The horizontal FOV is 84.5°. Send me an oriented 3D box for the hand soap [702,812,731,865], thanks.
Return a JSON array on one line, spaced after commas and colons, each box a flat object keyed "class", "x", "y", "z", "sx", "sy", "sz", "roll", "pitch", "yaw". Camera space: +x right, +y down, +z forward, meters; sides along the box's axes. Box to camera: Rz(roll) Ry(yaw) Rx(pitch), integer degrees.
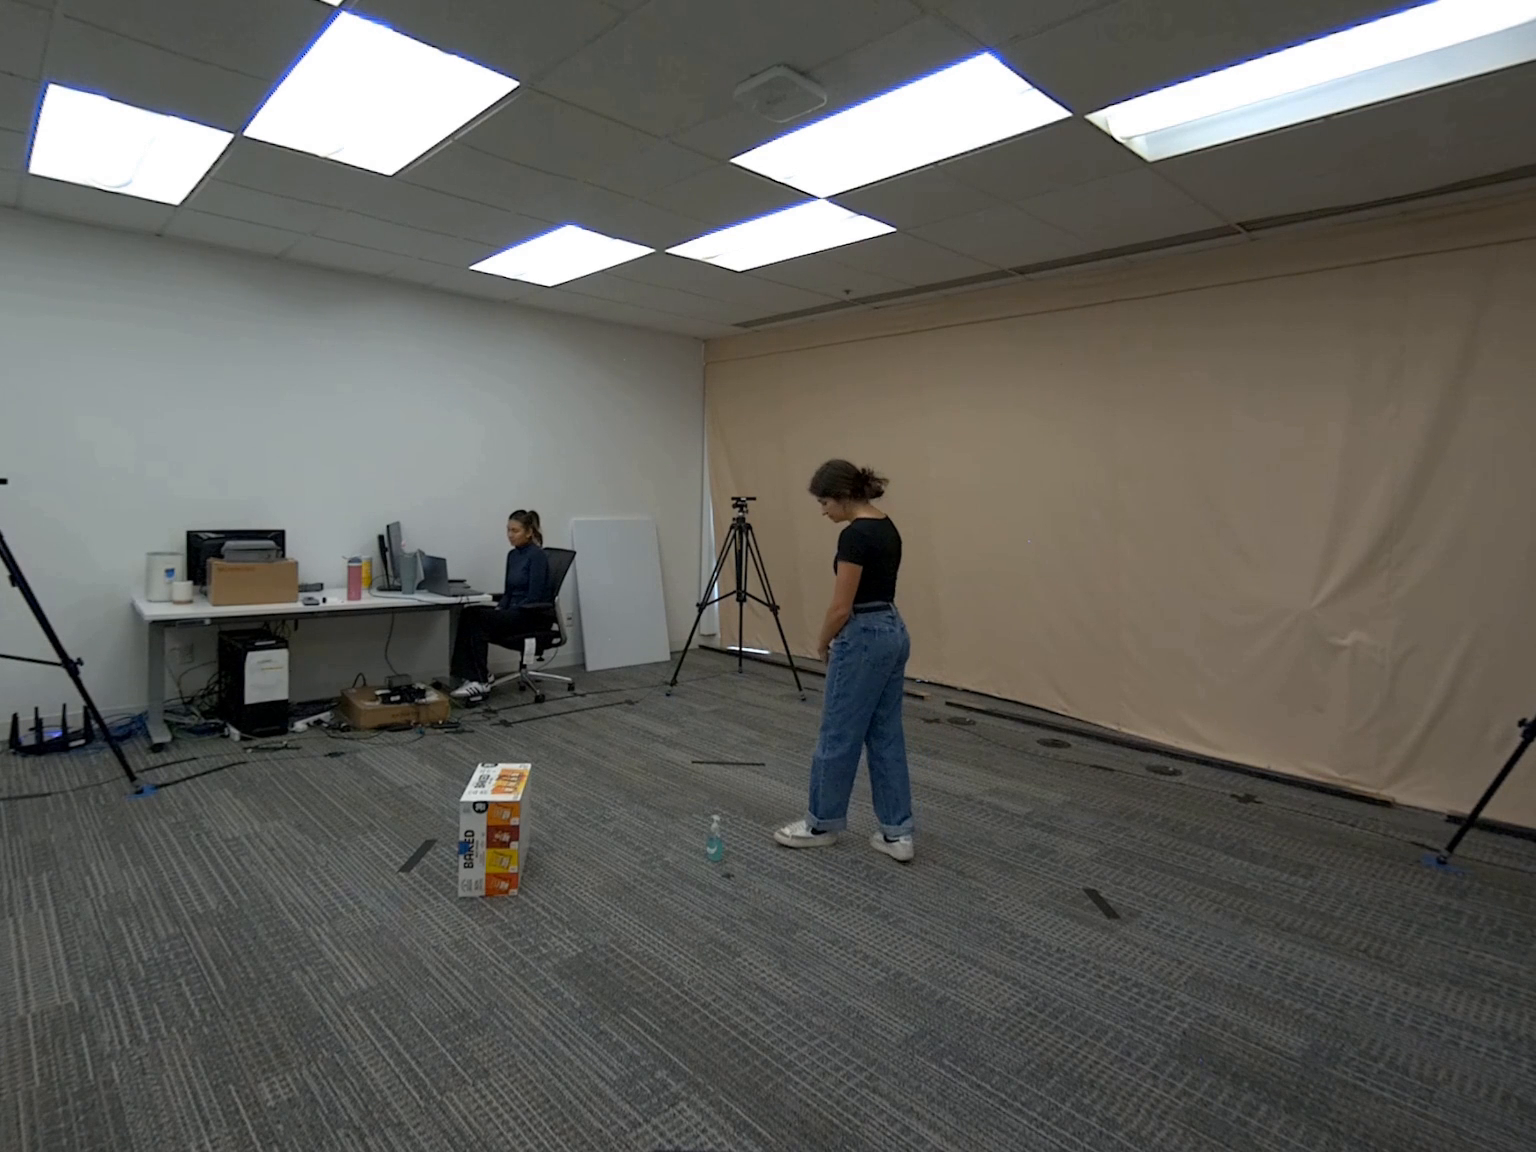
[{"class": "hand soap", "x": -0.215, "y": 1.014, "z": 3.244, "sx": 0.042, "sy": 0.168, "sz": 0.086, "roll": 4, "pitch": -1, "yaw": -35}]
